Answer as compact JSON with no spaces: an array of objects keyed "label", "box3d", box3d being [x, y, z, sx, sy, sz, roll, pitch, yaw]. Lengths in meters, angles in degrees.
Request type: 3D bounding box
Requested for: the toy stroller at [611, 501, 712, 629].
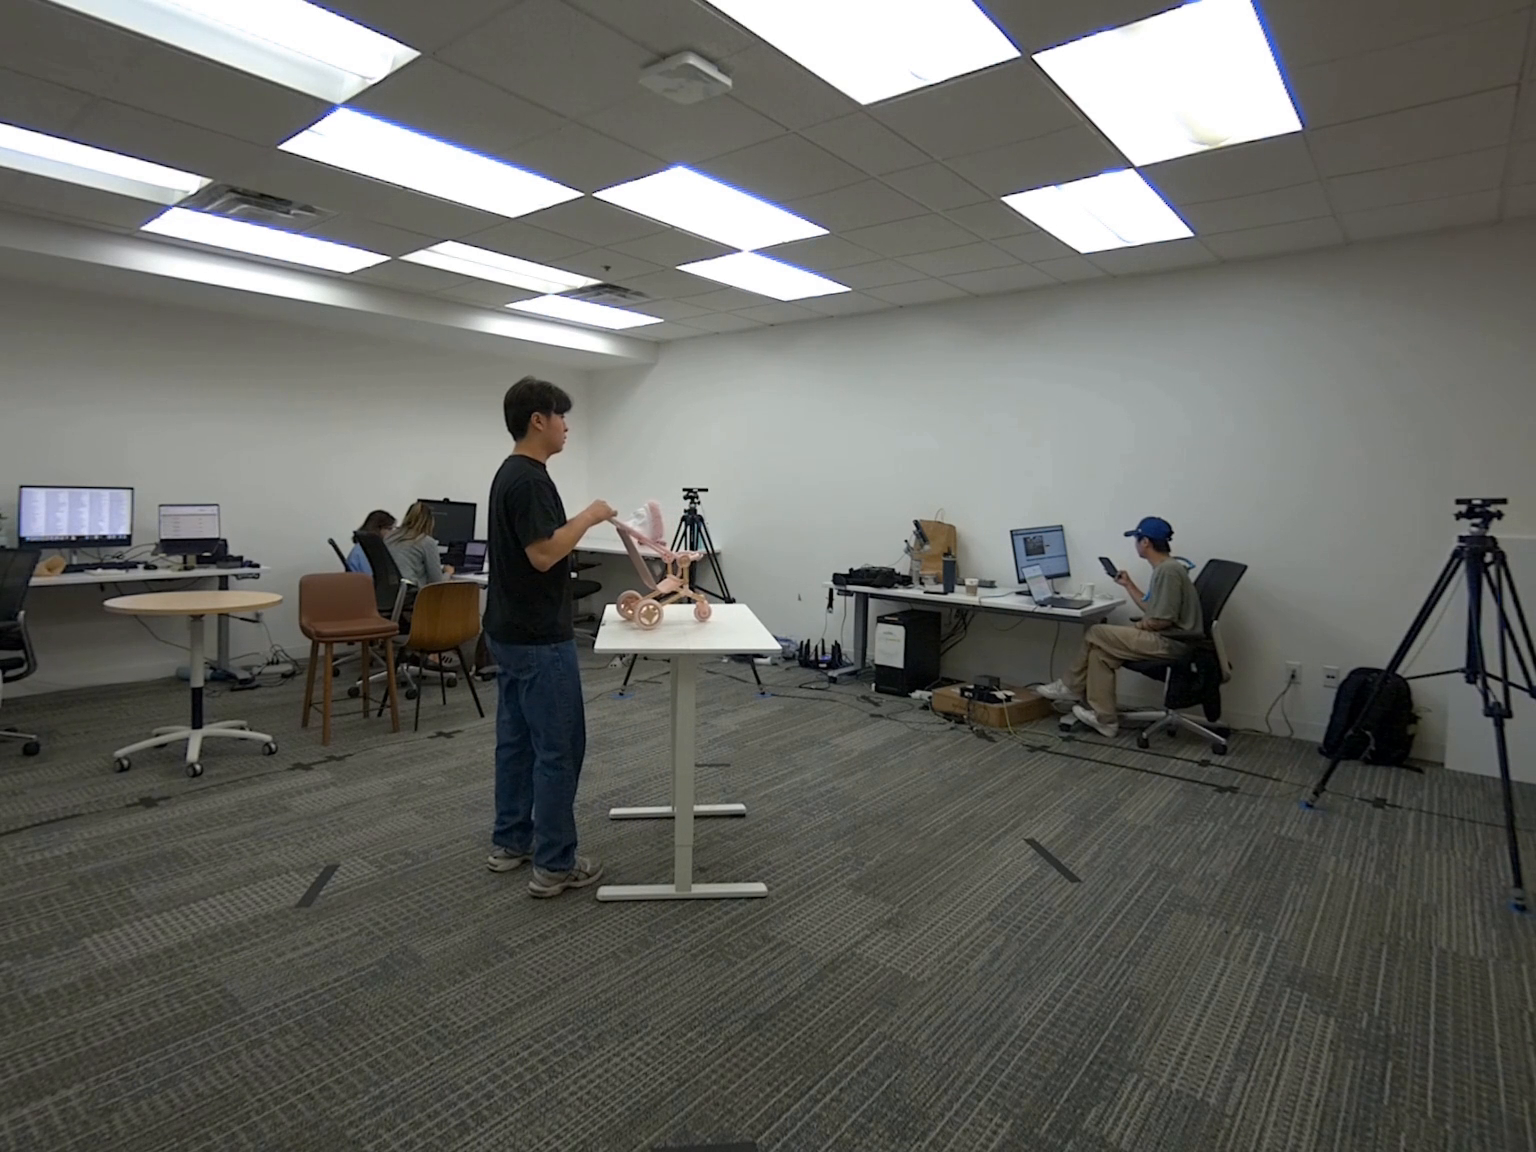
[{"label":"toy stroller","box3d":[-0.423,-0.045,3.162,0.337,0.530,0.287,-15,8,-16]}]
